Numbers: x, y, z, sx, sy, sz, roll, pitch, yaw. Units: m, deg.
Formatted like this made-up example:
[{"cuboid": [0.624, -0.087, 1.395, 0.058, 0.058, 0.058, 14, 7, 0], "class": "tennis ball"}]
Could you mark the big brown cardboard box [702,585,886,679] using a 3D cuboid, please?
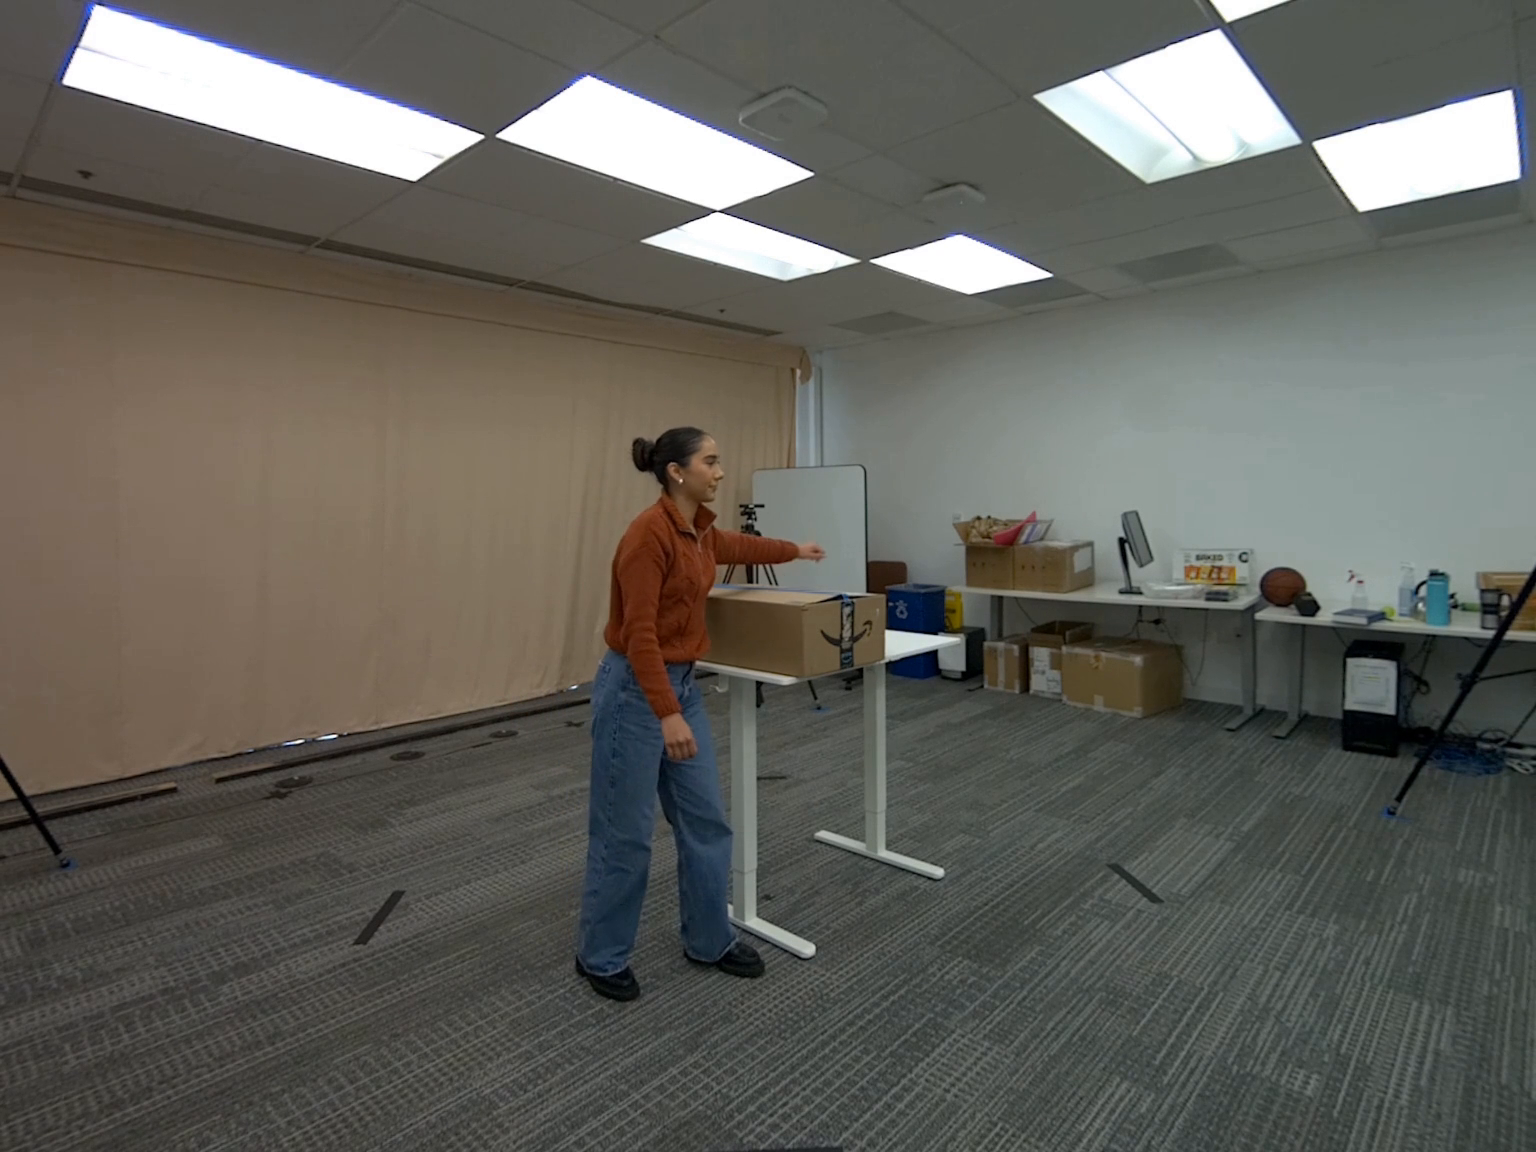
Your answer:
[{"cuboid": [0.034, 0.167, 2.775, 0.608, 0.233, 0.405, 3, 5, 43], "class": "big brown cardboard box"}]
